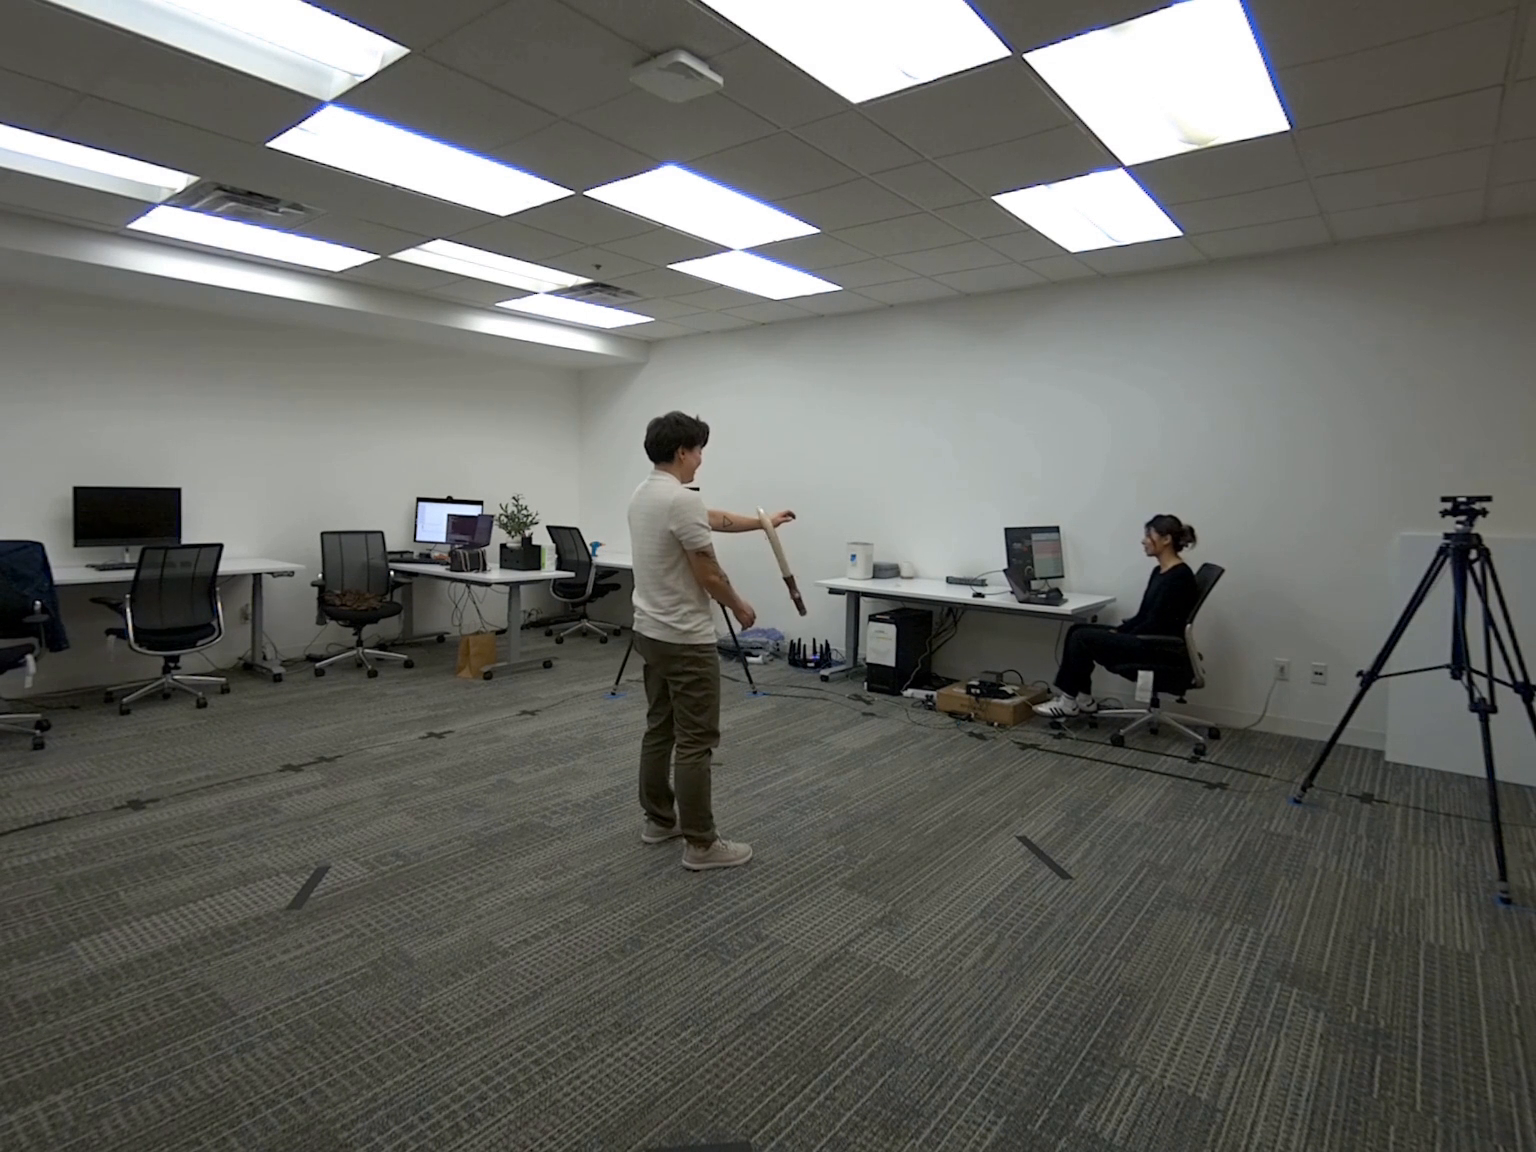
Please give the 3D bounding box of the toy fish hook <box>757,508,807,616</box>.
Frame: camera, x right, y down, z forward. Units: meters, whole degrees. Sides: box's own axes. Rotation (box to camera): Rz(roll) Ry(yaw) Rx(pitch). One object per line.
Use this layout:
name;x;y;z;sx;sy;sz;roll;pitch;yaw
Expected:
toy fish hook;0.039;-0.060;3.647;0.048;0.497;0.229;-21;15;-1
